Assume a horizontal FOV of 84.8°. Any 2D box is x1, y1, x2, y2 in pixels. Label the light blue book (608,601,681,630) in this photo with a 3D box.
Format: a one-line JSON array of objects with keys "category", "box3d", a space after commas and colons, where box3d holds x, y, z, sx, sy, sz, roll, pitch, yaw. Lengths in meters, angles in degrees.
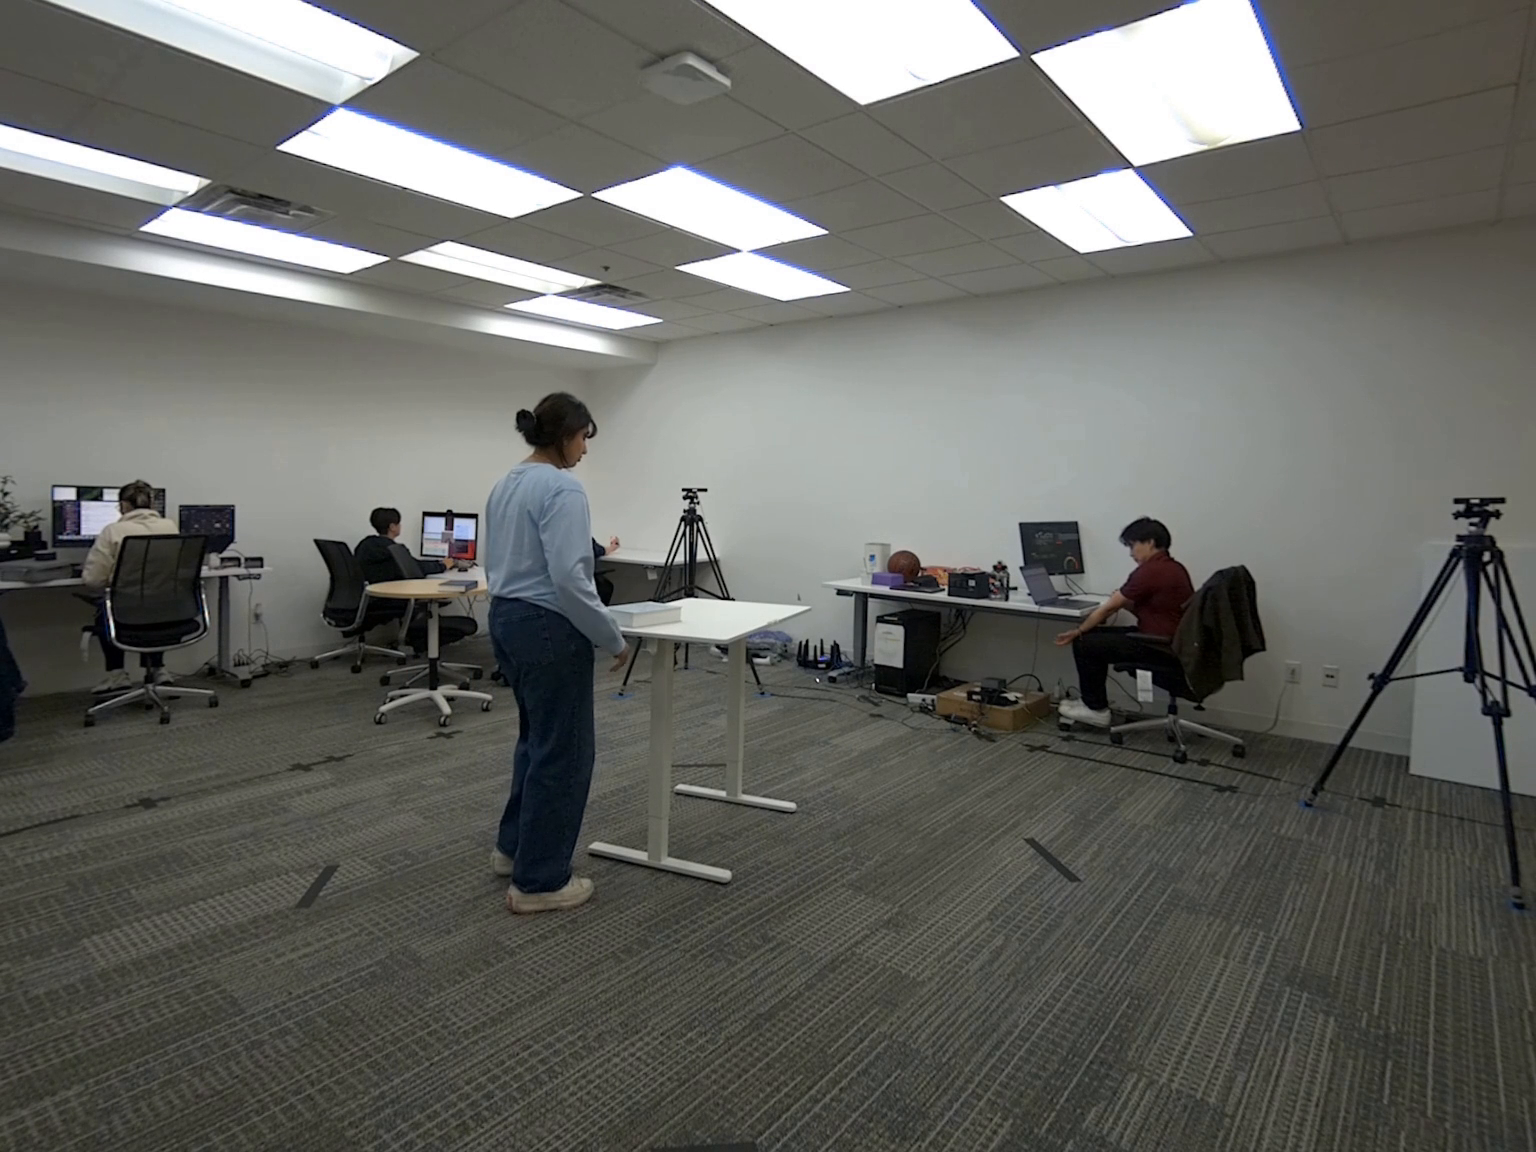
[{"category": "light blue book", "box3d": [-0.487, 0.143, 3.207, 0.198, 0.059, 0.253, 6, 7, 39]}]
